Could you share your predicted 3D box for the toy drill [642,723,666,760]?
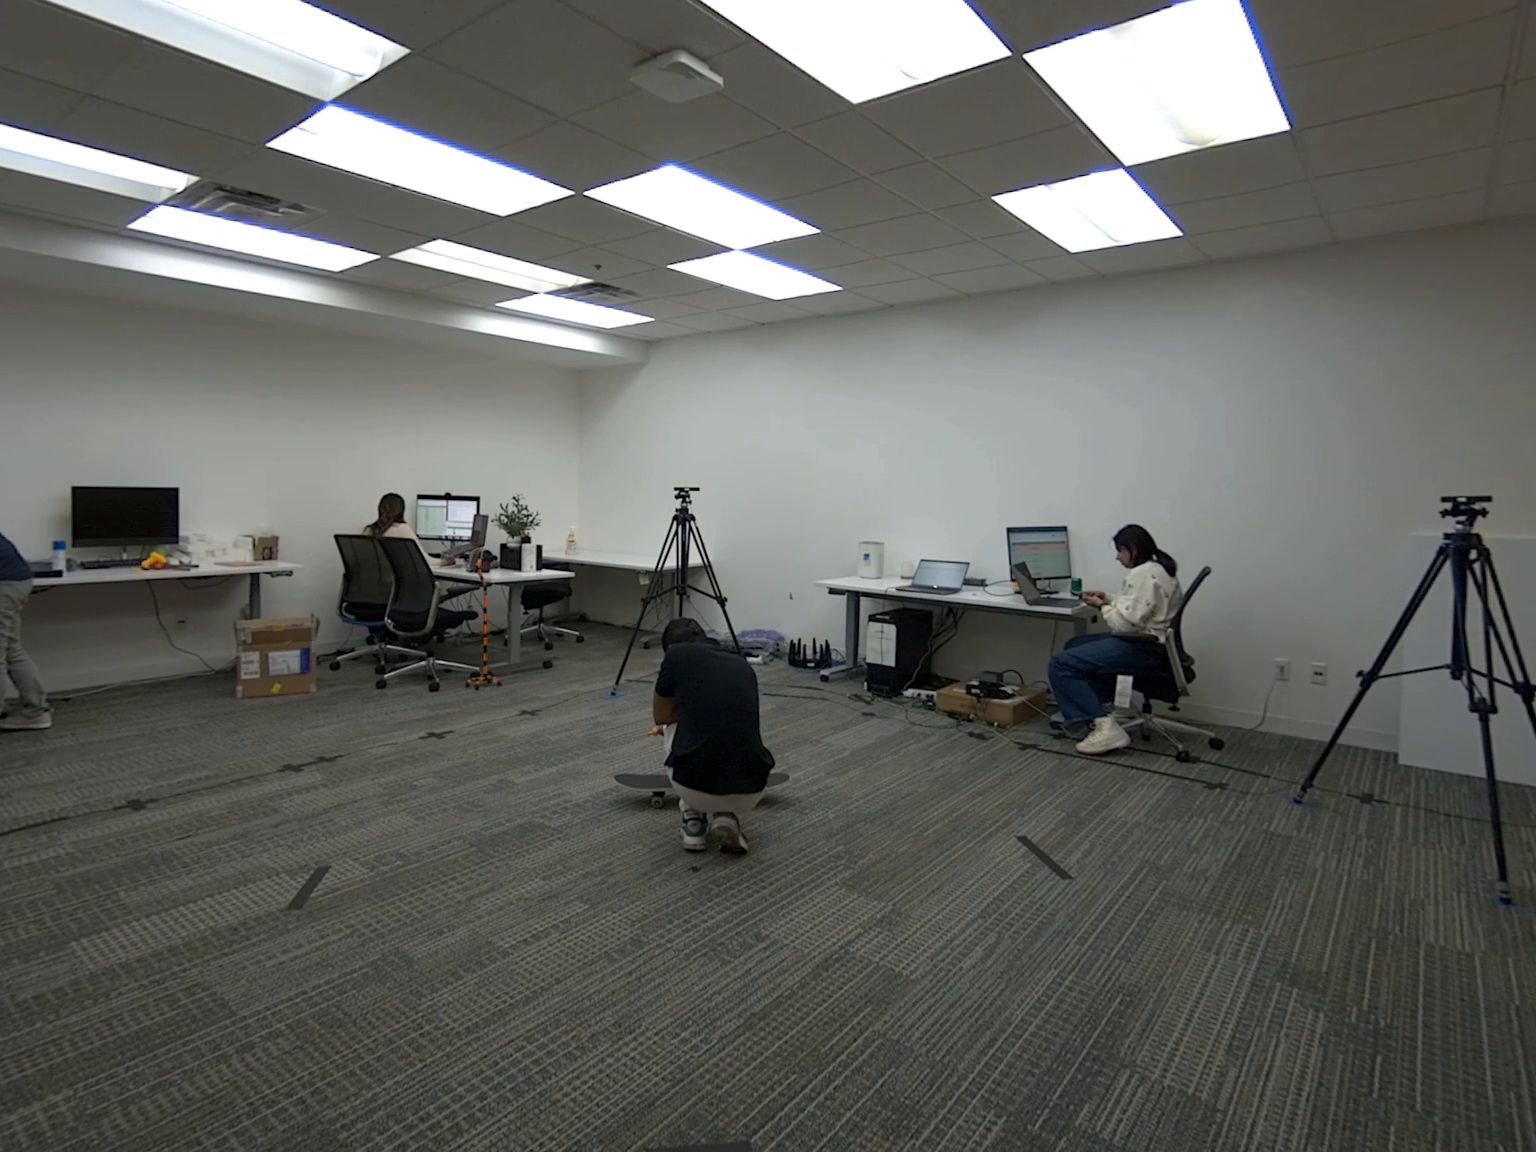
[{"bbox_3d":[-0.469,0.727,3.792,0.169,0.147,0.061,-13,-6,-5],"label":"toy drill"}]
